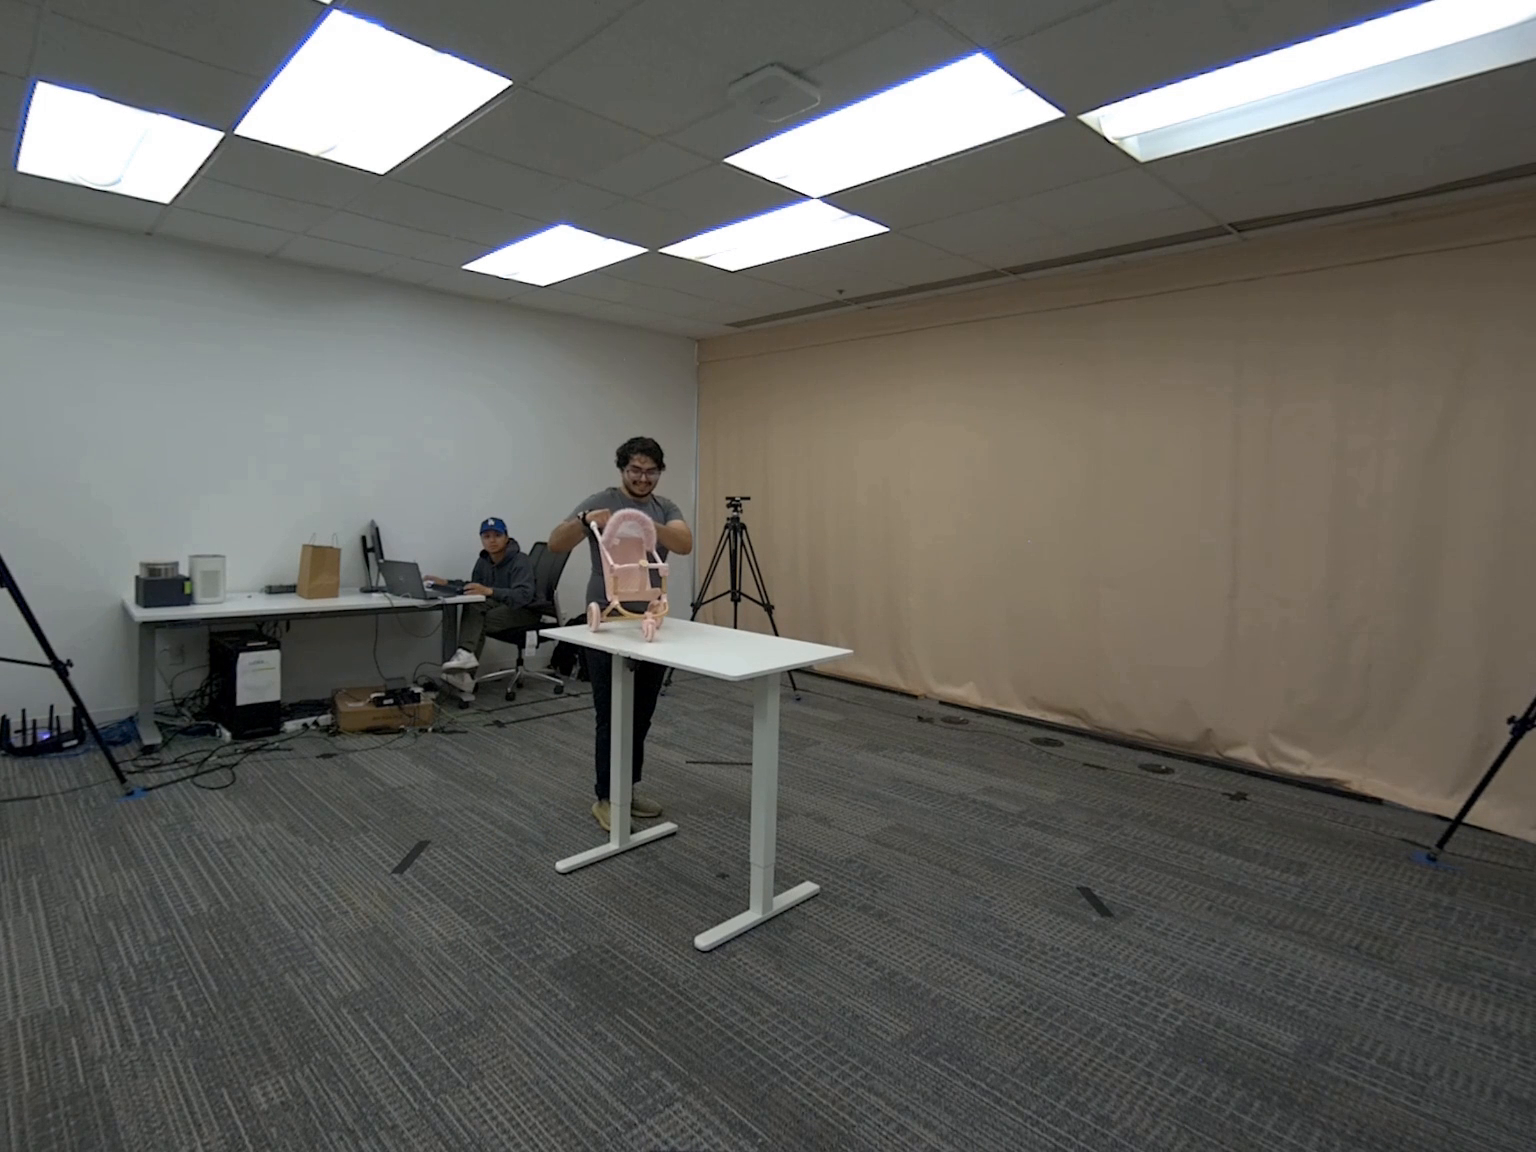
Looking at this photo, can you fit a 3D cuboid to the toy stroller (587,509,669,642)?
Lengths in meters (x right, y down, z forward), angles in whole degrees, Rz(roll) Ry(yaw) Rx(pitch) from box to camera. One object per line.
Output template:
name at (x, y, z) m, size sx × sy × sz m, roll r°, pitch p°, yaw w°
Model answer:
toy stroller at (-0.512, -0.010, 3.109) m, size 0.276 × 0.540 × 0.344 m, roll 0°, pitch -12°, yaw -25°
